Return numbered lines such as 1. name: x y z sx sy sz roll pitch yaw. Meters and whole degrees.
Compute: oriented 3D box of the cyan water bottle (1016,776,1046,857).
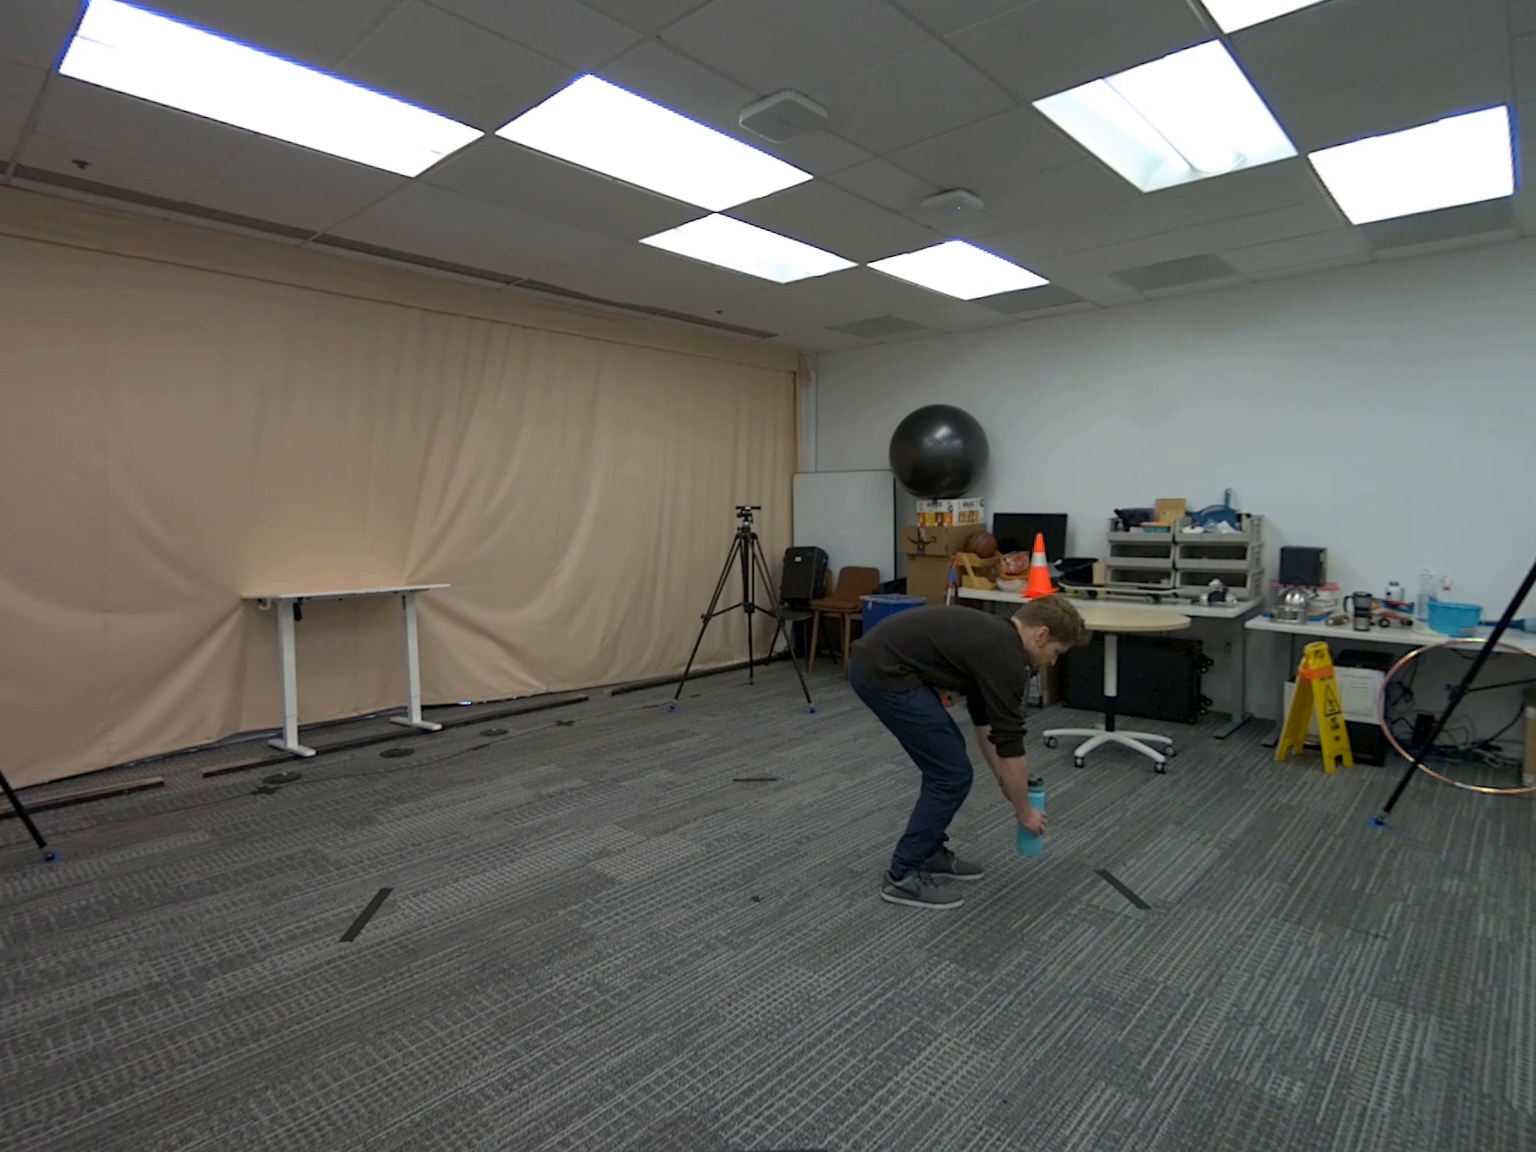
1. cyan water bottle: 0.972 0.870 3.096 0.092 0.283 0.092 4 3 -2
